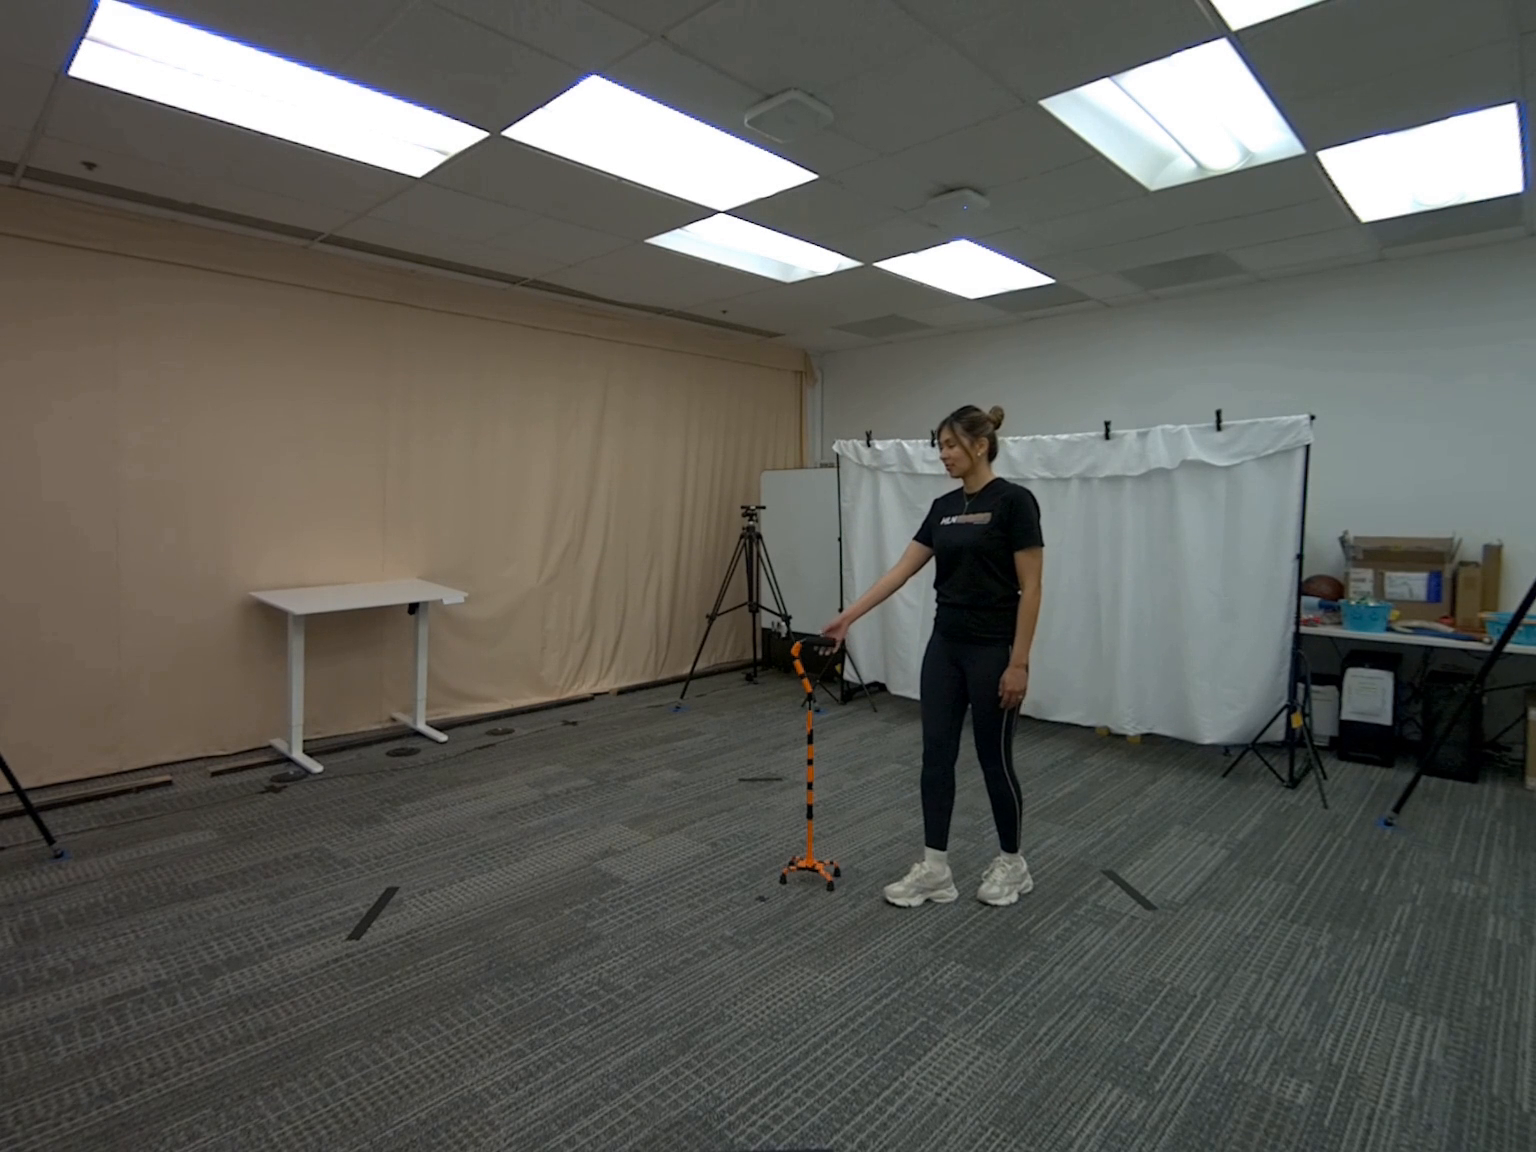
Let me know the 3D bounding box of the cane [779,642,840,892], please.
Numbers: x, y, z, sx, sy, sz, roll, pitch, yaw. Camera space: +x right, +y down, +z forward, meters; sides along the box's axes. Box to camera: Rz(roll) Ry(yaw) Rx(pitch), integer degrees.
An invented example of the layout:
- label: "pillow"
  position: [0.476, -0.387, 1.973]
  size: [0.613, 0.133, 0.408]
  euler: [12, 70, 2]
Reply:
- label: "cane"
  position: [0.152, 0.684, 3.106]
  size: [0.210, 0.906, 0.149]
  euler: [0, 4, 16]
